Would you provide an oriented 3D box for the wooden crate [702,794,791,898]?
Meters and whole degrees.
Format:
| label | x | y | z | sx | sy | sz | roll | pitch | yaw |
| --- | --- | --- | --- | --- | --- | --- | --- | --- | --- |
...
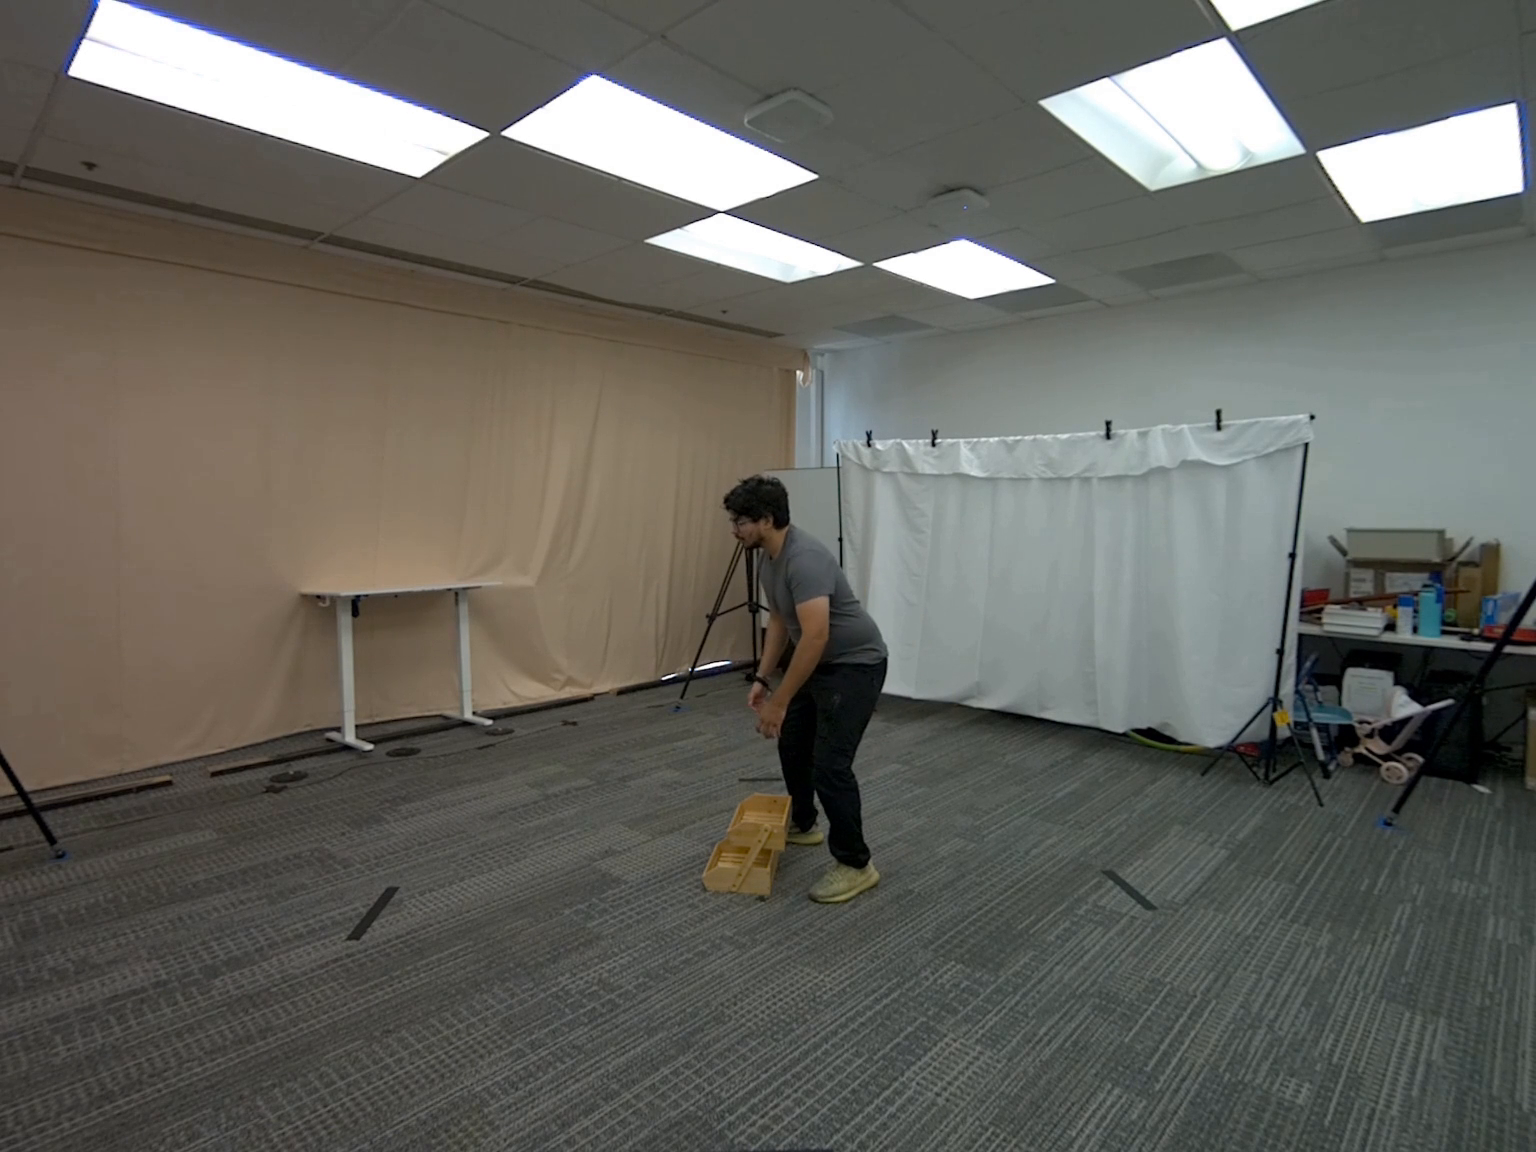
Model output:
| label | x | y | z | sx | sy | sz | roll | pitch | yaw |
| --- | --- | --- | --- | --- | --- | --- | --- | --- | --- |
| wooden crate | -0.078 | 0.997 | 3.169 | 0.305 | 0.273 | 0.322 | 2 | 4 | 8 |
